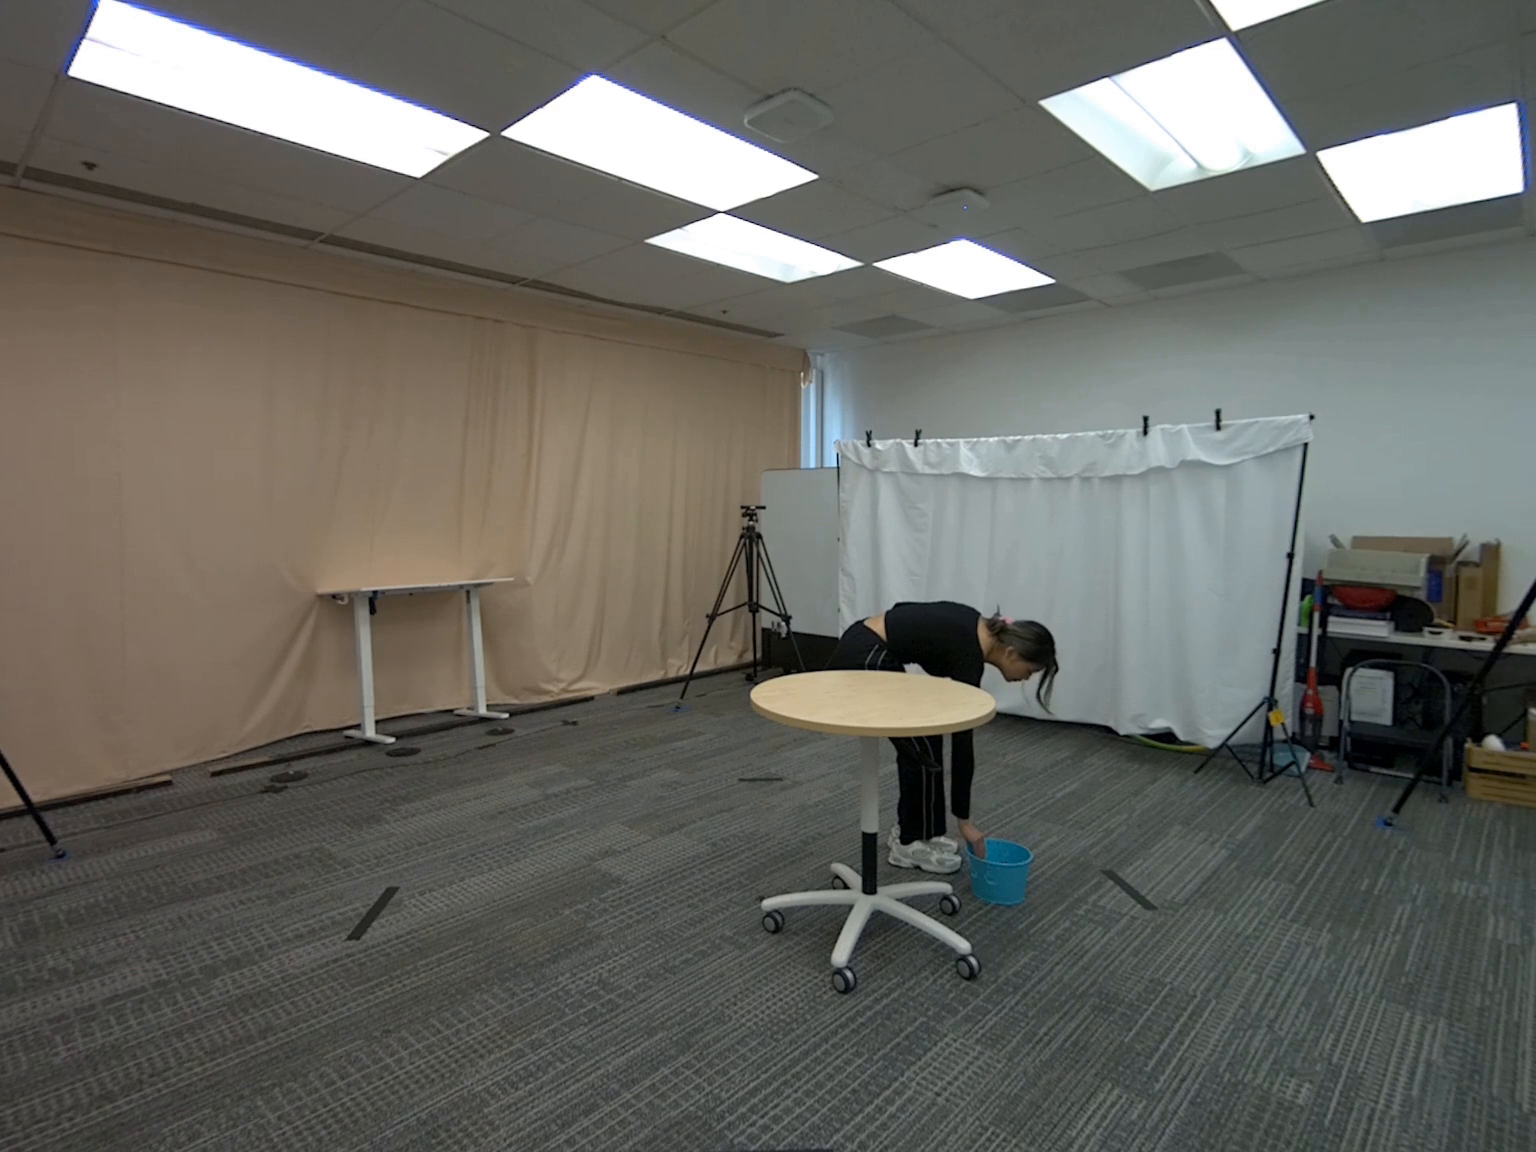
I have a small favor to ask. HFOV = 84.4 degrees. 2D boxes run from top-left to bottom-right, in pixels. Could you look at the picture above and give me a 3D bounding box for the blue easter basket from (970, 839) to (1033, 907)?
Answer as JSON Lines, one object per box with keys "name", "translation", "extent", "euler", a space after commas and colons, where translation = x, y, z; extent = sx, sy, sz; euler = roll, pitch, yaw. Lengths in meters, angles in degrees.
{"name": "blue easter basket", "translation": [0.837, 1.062, 3.024], "extent": [0.243, 0.155, 0.244], "euler": [0, 4, -2]}
